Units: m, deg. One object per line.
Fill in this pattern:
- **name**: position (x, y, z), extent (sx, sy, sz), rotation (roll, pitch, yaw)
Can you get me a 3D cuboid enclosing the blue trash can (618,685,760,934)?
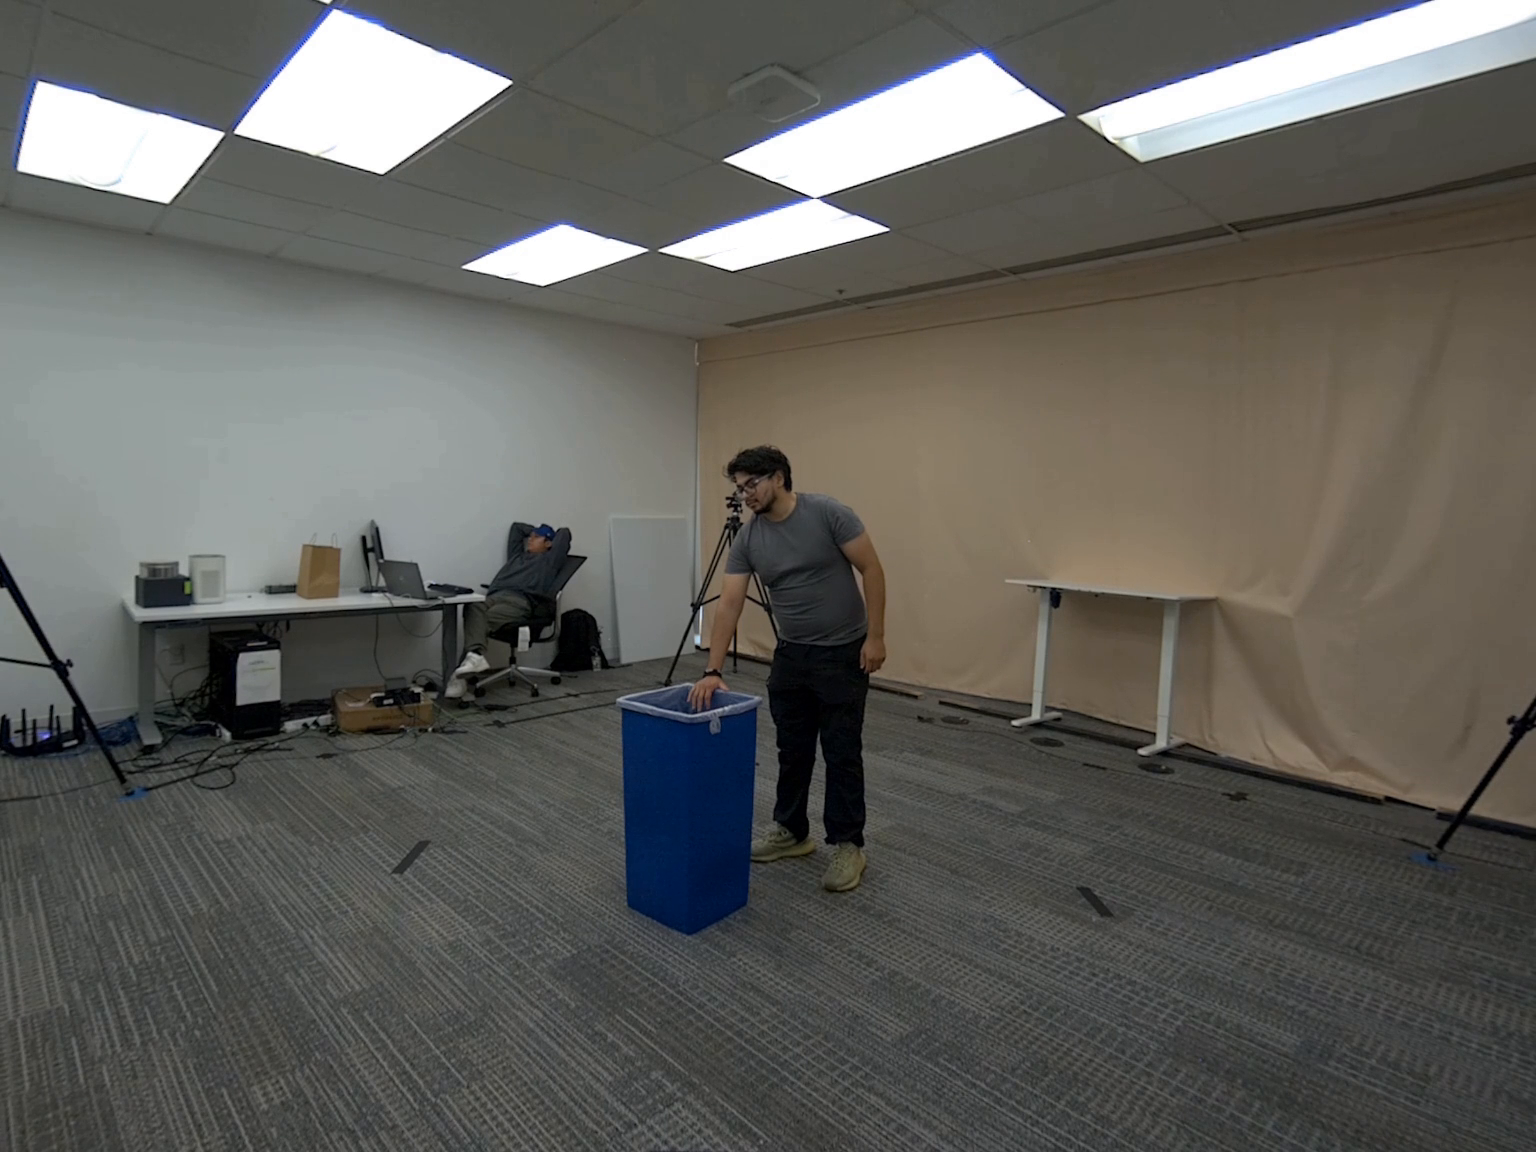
- **blue trash can**: position (-0.283, 0.767, 2.862), extent (0.383, 0.712, 0.369), rotation (4, 4, 40)
